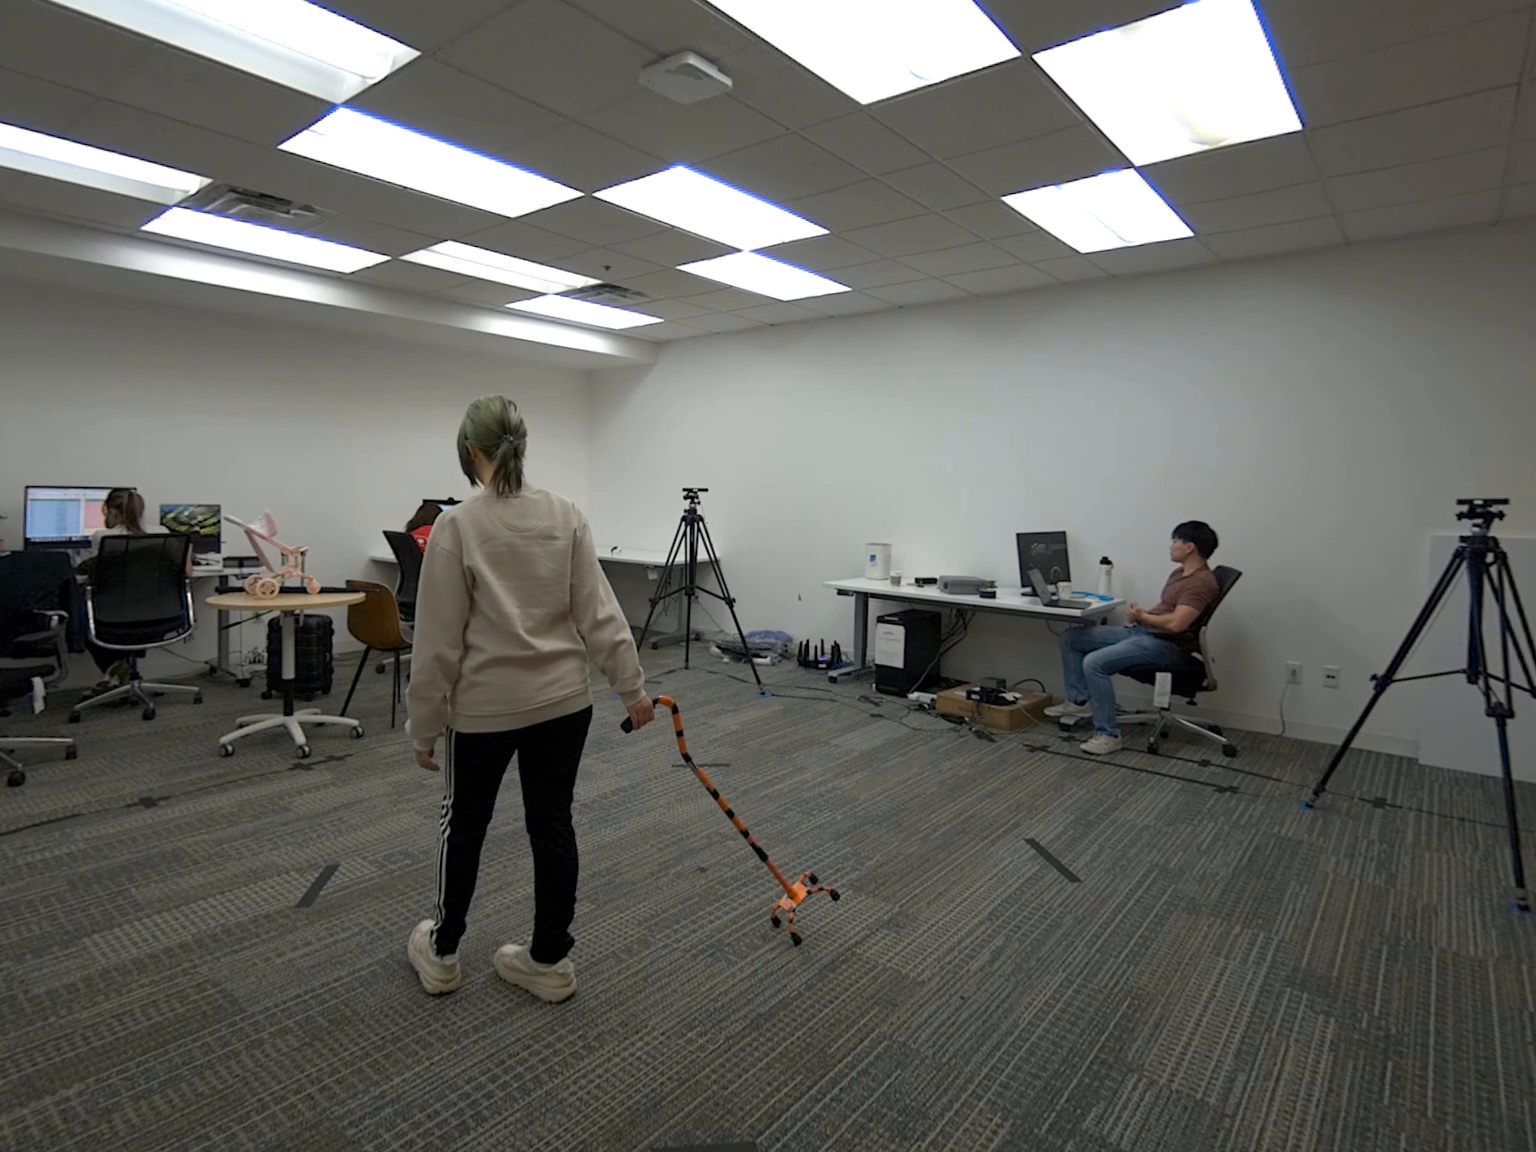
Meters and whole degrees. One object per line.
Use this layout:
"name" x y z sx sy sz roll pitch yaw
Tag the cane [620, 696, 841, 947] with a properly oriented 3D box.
"cane" -0.120 0.709 2.549 0.206 0.885 0.156 -40 20 -17
